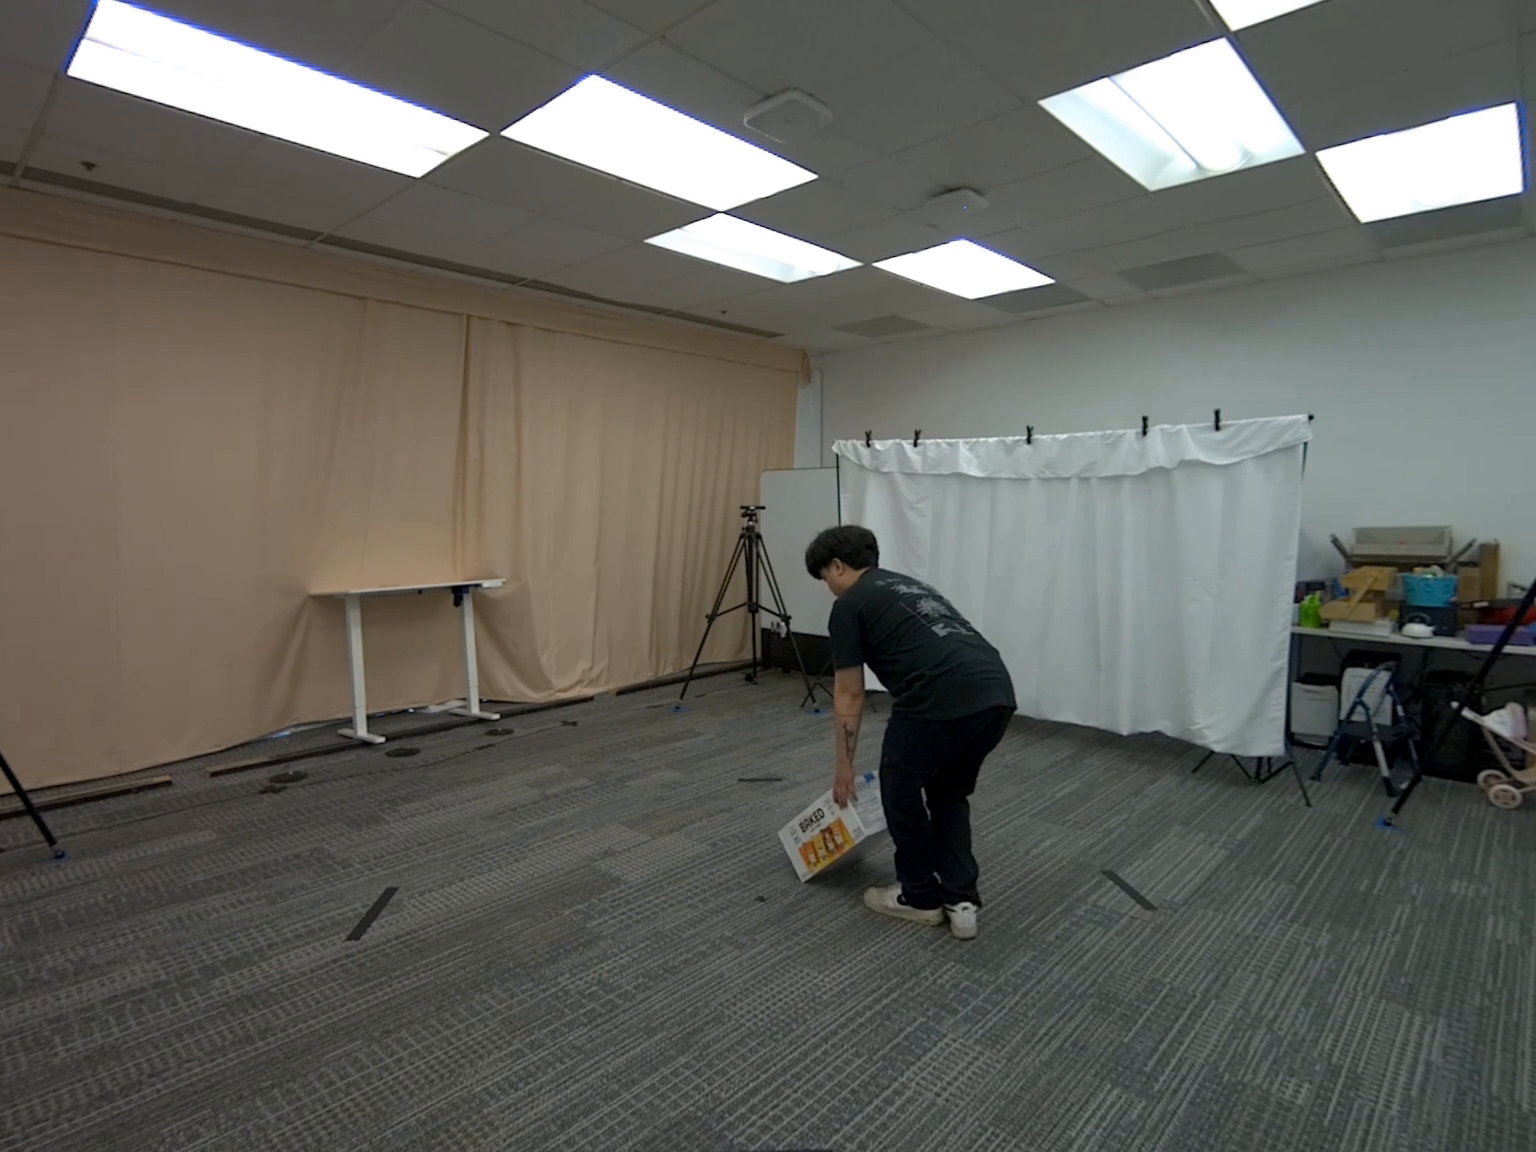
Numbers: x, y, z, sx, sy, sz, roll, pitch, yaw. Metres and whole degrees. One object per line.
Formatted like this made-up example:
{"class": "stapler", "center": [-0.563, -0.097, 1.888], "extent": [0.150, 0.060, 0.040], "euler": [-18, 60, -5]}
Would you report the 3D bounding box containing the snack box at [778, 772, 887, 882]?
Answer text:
{"class": "snack box", "center": [0.314, 0.920, 3.143], "extent": [0.330, 0.211, 0.407], "euler": [-4, -35, -42]}
